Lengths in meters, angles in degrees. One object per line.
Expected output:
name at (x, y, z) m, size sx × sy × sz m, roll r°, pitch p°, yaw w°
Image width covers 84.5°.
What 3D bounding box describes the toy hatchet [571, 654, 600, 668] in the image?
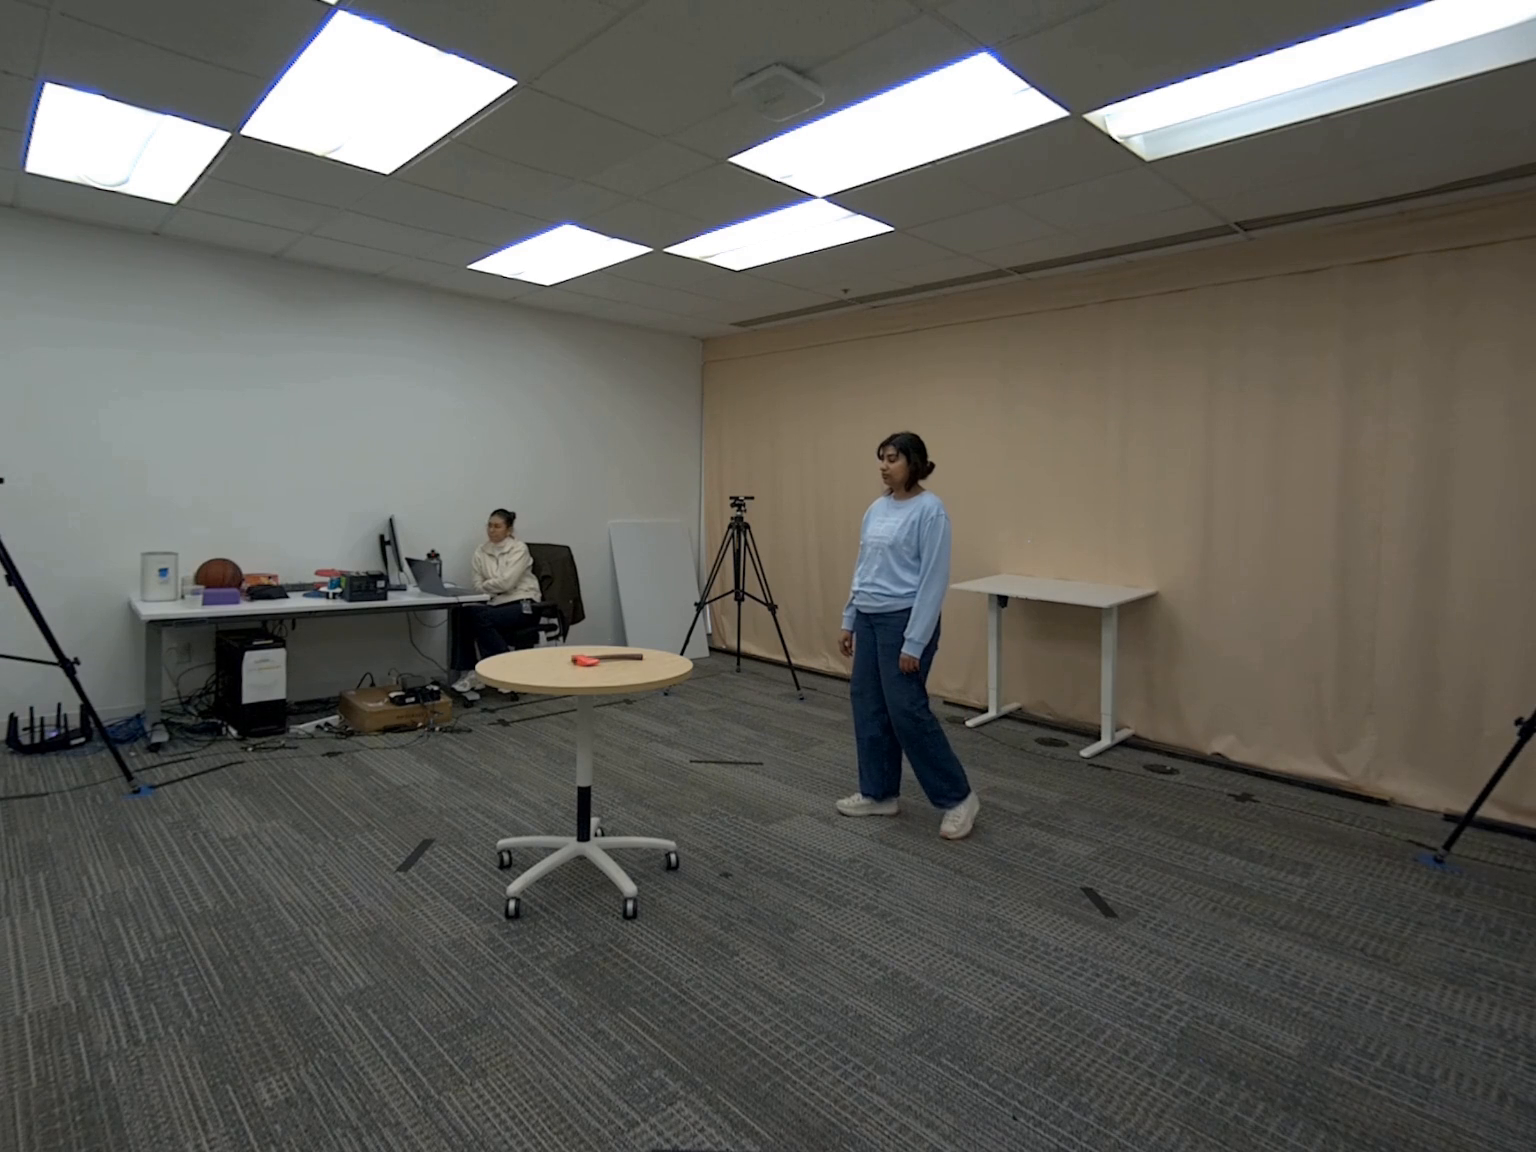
toy hatchet at (-0.586, 0.304, 3.039) m, size 0.266 × 0.029 × 0.133 m, roll 0°, pitch 5°, yaw -18°
